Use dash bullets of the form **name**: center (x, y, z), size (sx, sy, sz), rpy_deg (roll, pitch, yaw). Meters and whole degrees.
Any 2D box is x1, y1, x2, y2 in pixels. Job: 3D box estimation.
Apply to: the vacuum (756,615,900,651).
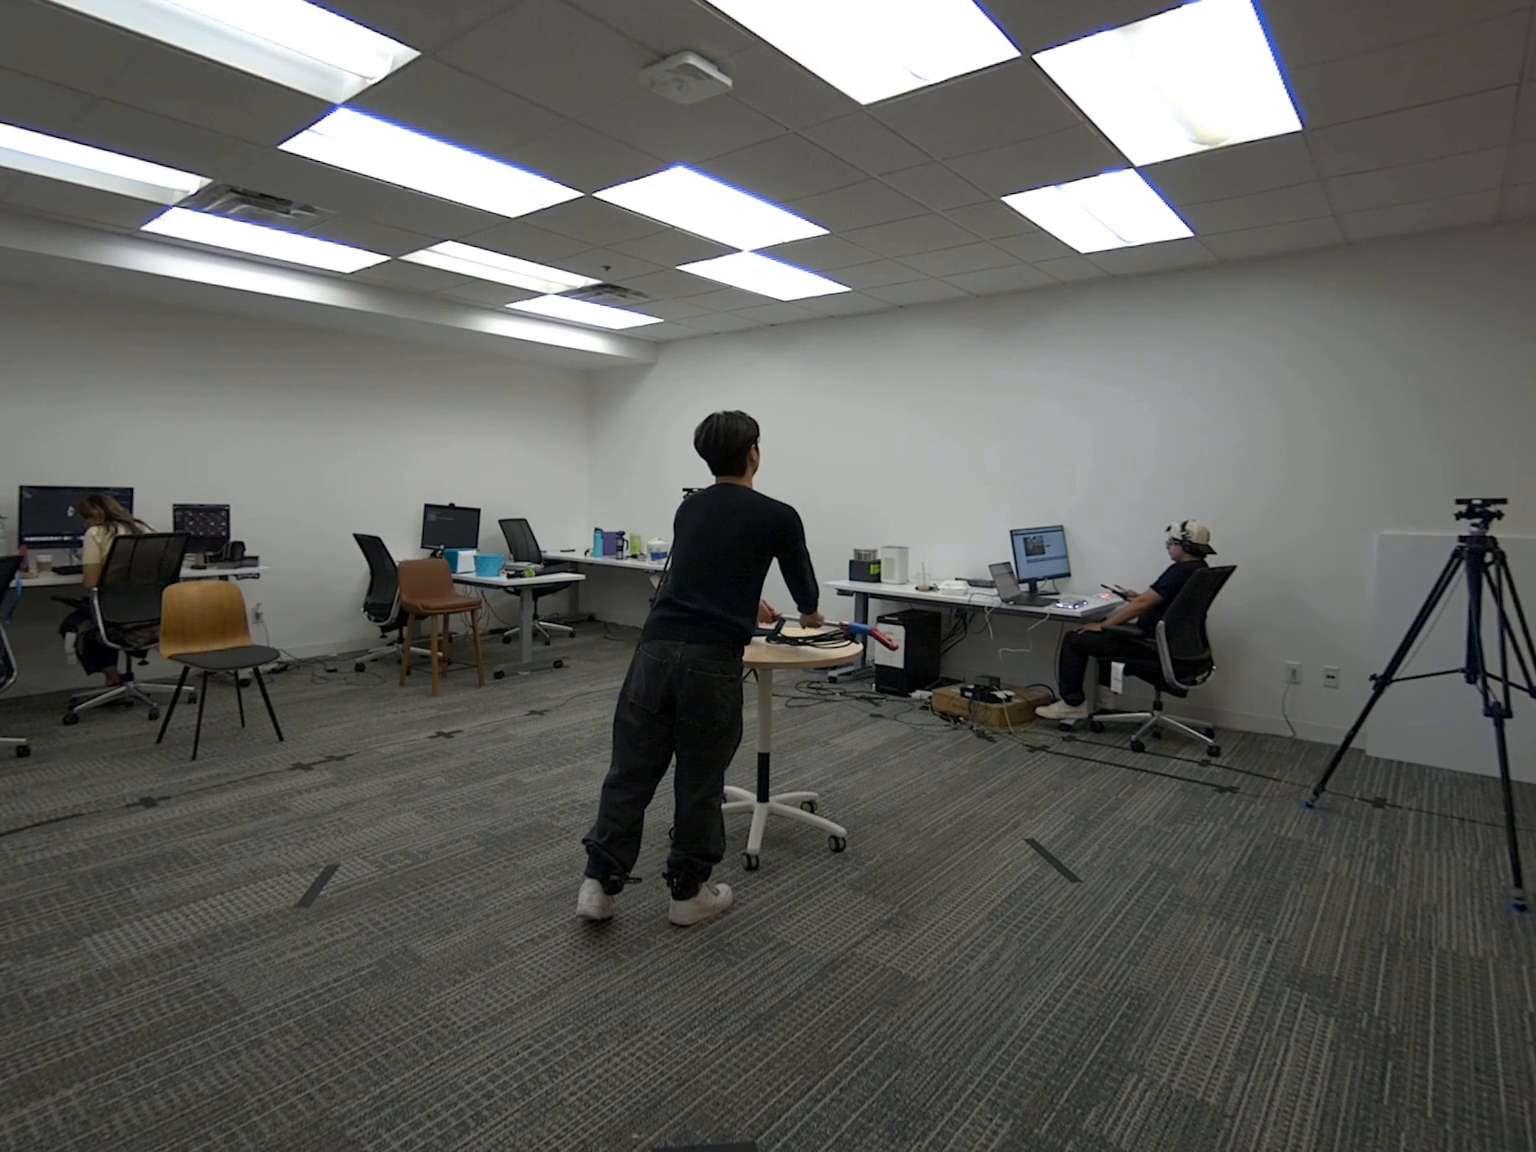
- **vacuum**: center (0.045, 0.207, 3.261), size (0.245, 0.143, 1.085), rpy_deg (-5, 7, -43)
